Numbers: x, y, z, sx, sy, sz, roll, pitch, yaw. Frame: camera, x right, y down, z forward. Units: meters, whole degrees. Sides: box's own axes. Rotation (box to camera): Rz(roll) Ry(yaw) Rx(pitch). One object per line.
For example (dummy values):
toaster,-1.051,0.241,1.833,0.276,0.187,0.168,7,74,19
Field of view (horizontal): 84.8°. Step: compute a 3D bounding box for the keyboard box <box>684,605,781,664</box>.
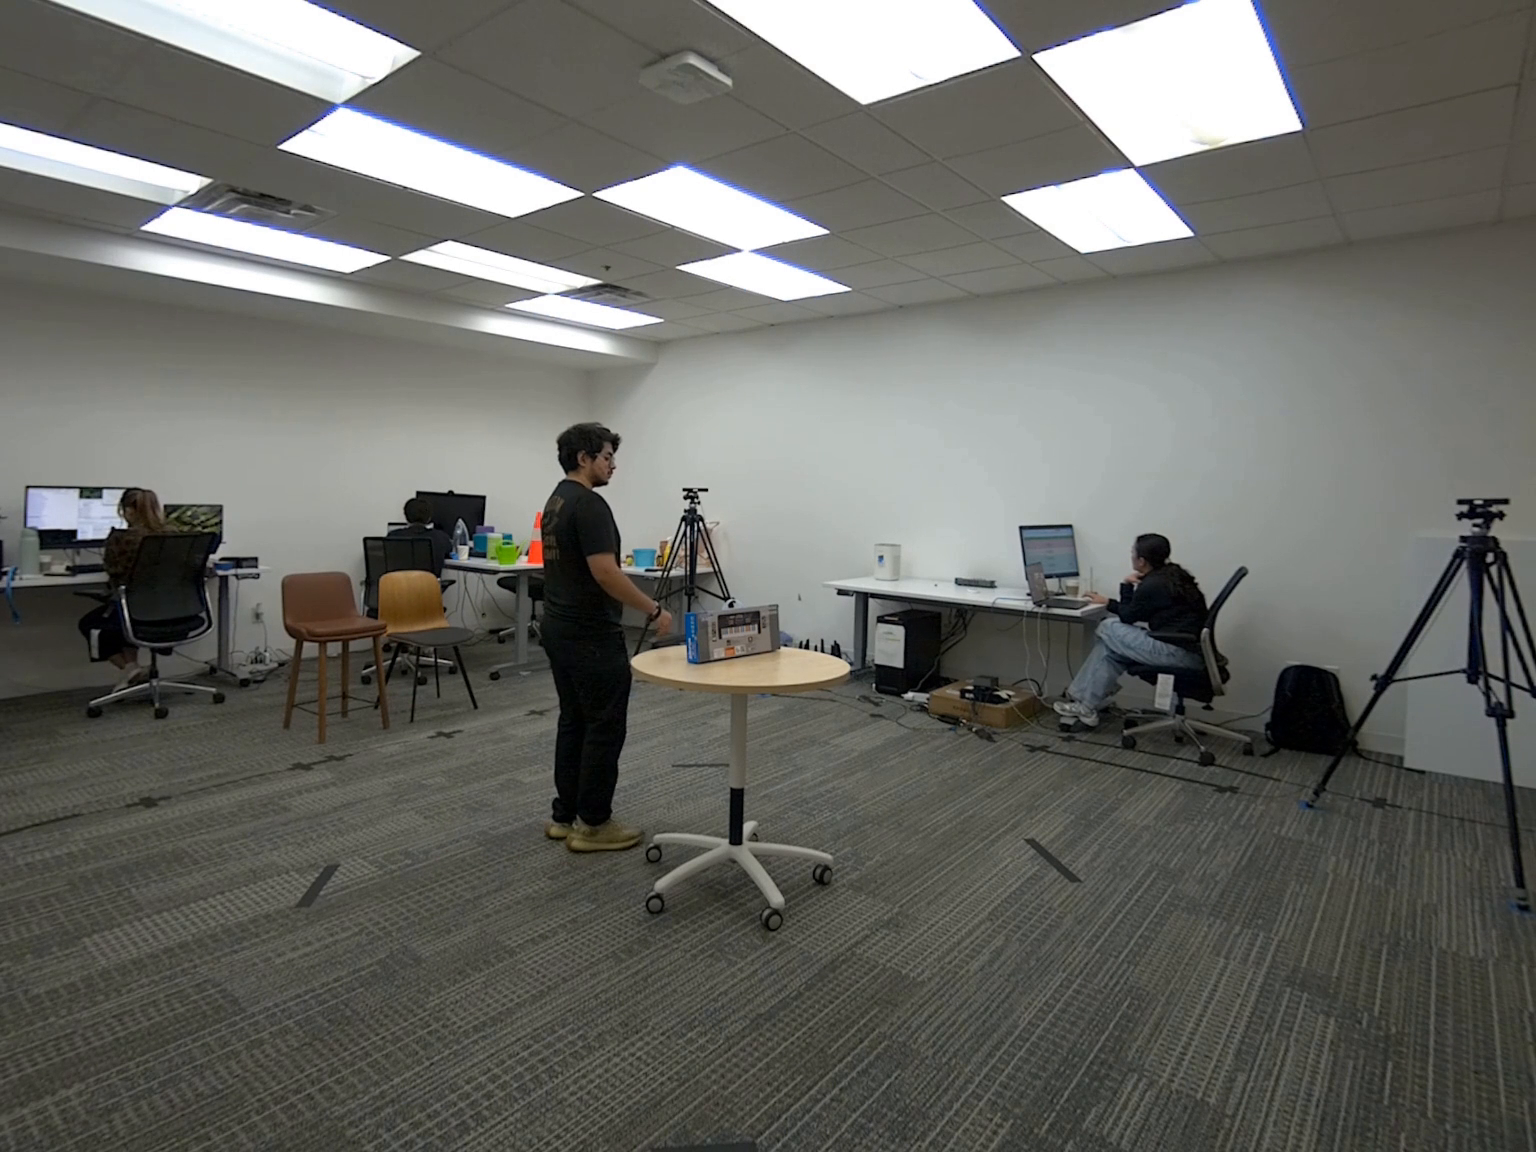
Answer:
keyboard box,-0.127,0.204,3.094,0.061,0.176,0.424,-4,0,43
